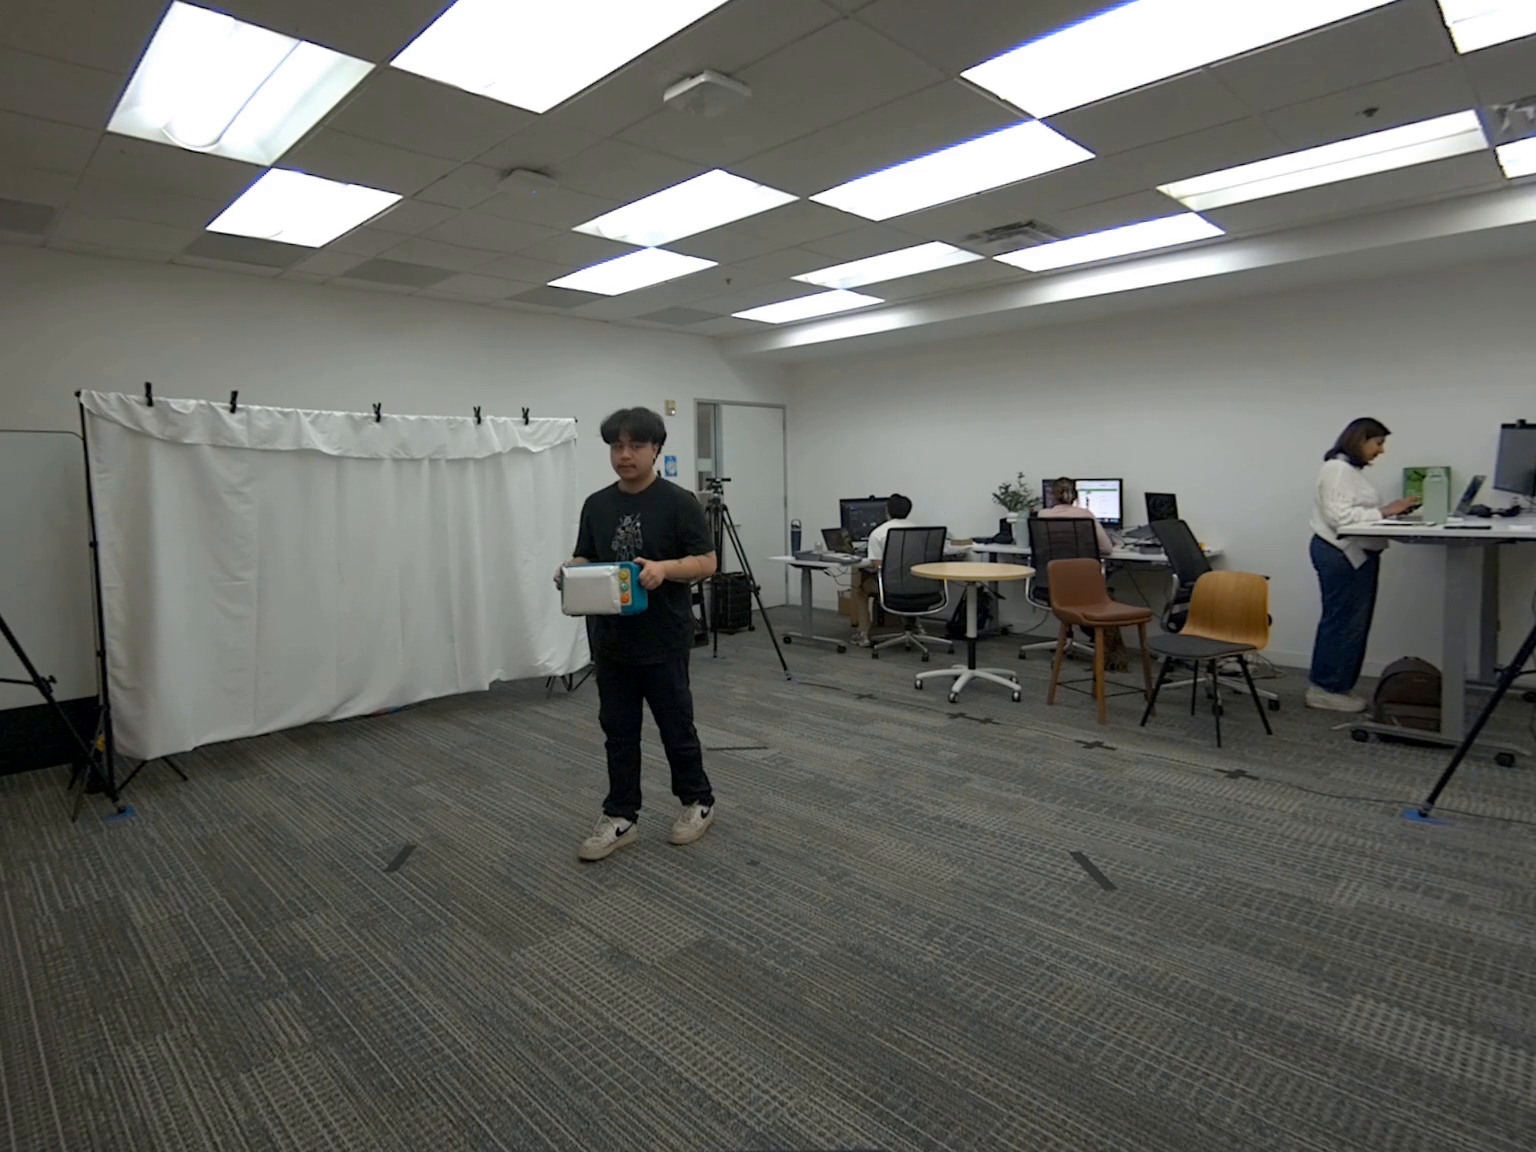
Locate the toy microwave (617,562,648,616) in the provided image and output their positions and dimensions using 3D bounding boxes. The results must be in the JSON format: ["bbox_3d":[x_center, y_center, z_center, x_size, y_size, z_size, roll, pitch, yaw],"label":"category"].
[{"bbox_3d":[-0.577,0.046,2.989,0.290,0.184,0.150,-3,0,16],"label":"toy microwave"}]
